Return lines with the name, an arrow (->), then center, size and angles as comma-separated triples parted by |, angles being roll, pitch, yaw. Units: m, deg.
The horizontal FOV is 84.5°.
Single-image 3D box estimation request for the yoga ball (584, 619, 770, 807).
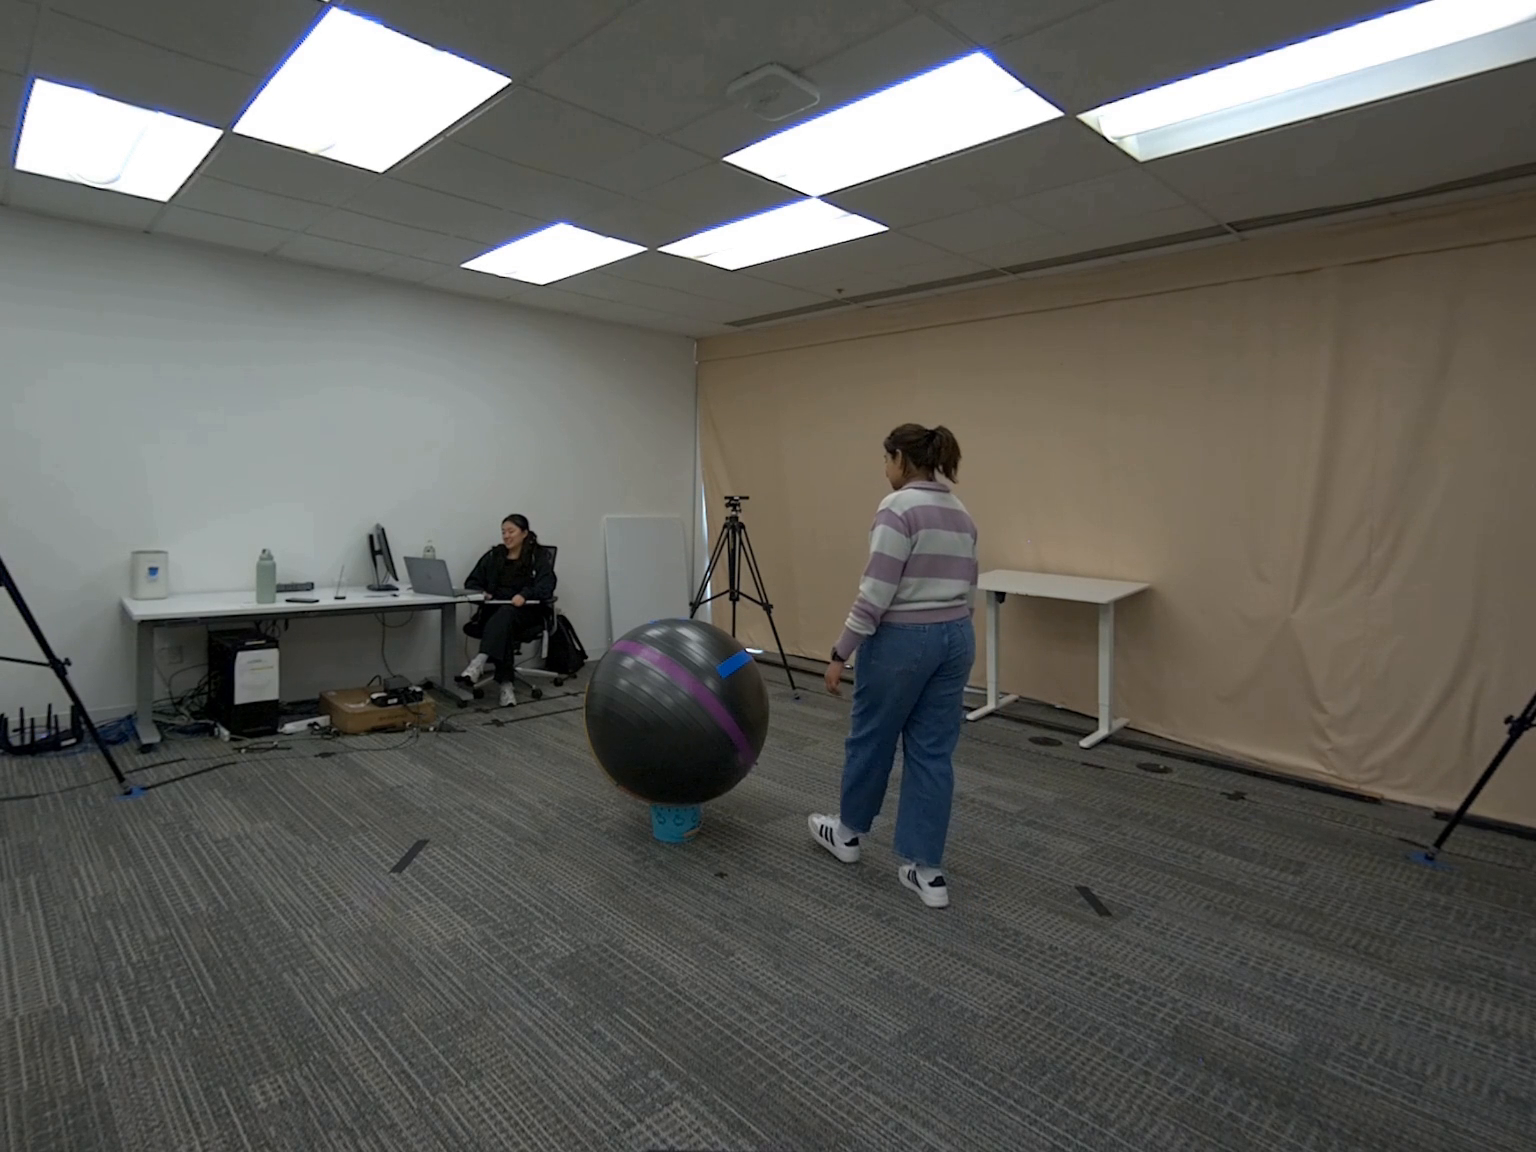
yoga ball -> -0.383, 0.559, 3.471 | 0.757, 0.756, 0.761 | 1, 4, -1
